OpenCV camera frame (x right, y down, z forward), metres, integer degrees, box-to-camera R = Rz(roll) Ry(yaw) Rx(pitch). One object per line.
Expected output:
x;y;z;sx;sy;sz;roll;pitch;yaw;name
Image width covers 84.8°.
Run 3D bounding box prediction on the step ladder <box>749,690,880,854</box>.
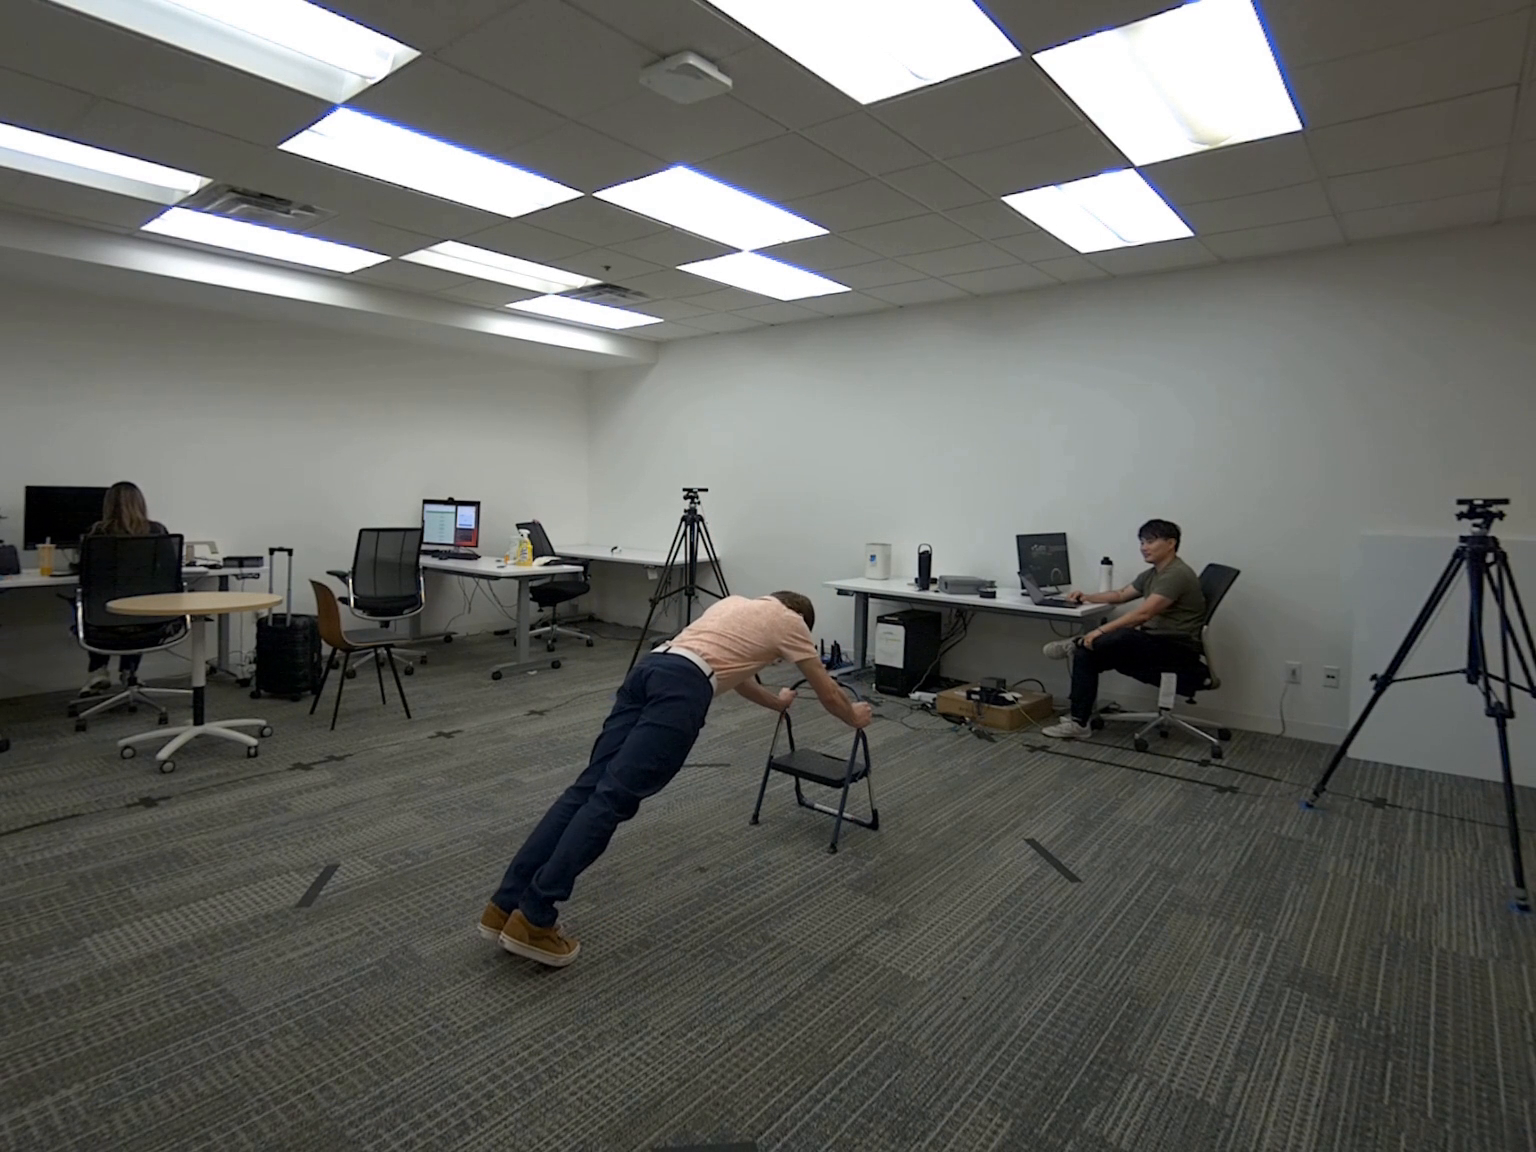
0.193;0.737;3.521;0.445;0.604;0.339;5;5;40;step ladder
